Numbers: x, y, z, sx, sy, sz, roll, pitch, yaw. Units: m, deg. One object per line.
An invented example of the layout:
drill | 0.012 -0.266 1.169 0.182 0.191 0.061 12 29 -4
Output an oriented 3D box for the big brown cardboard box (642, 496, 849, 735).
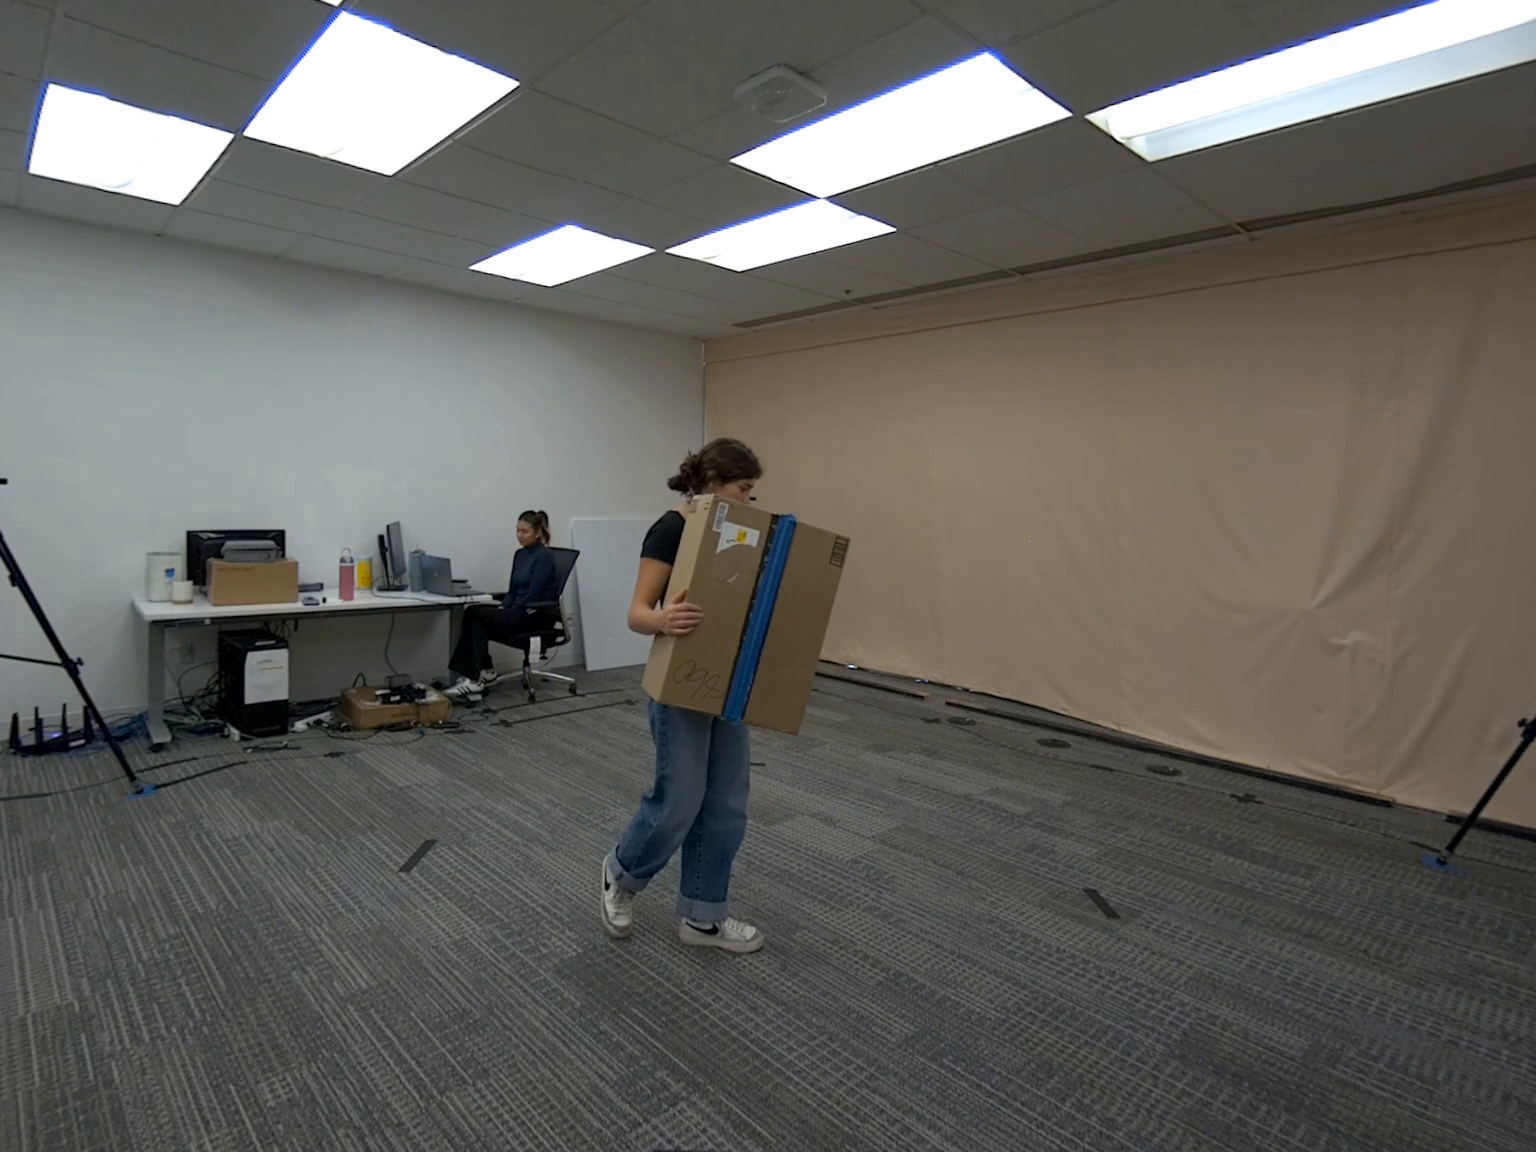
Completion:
big brown cardboard box | -0.071 0.102 2.349 0.410 0.589 0.237 16 -2 -19
